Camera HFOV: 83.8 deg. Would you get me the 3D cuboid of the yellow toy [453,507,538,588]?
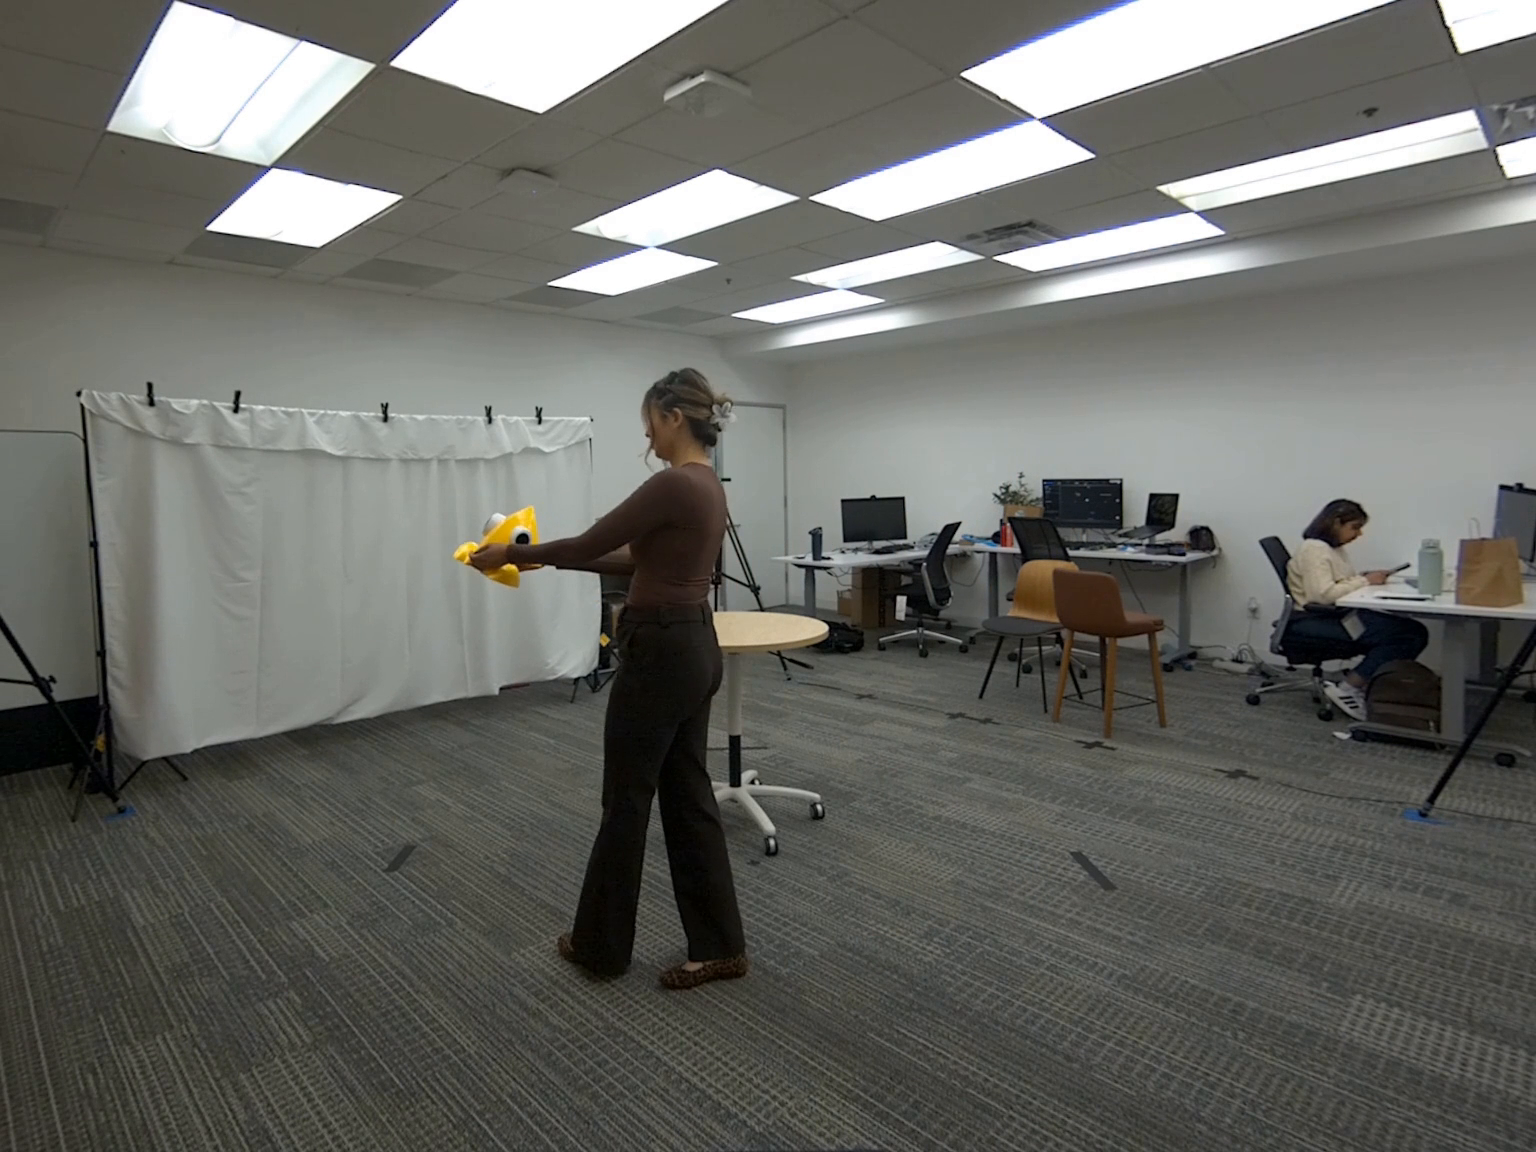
[{"bbox_3d":[-0.770,-0.117,2.512,0.209,0.231,0.189,26,-2,16],"label":"yellow toy"}]
